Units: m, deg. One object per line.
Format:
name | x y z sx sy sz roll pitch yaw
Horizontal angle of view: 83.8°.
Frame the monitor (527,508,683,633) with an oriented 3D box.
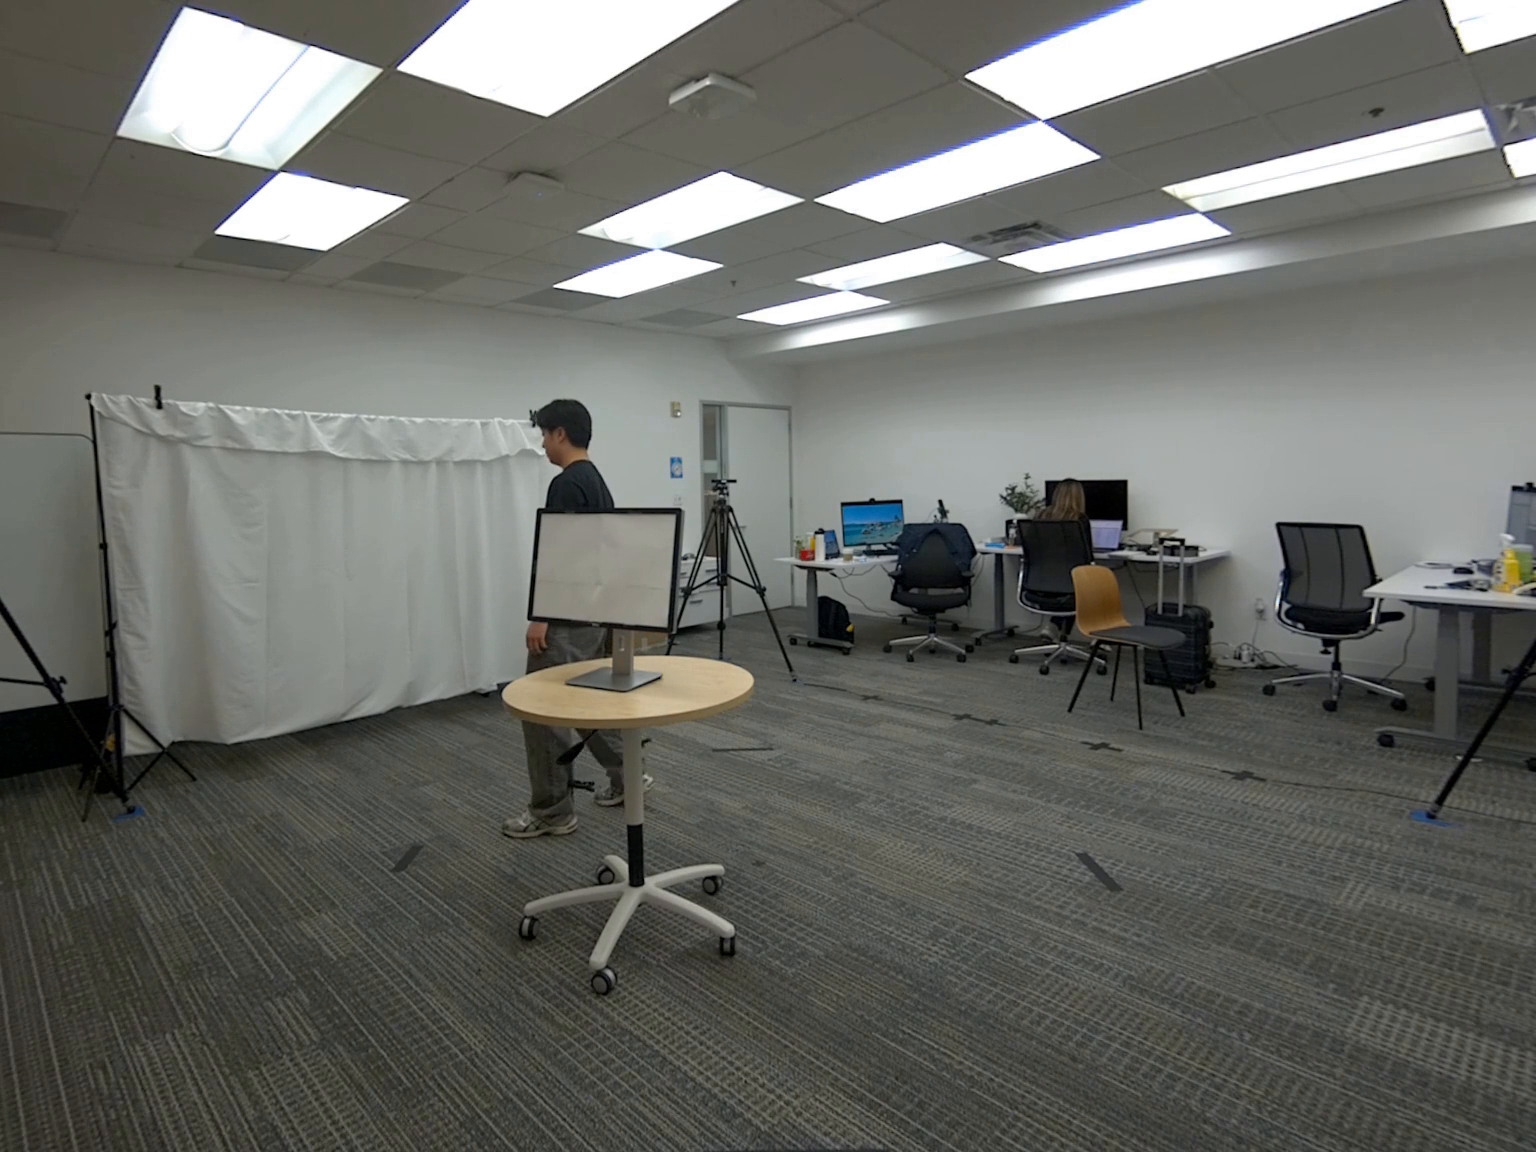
monitor | -0.485 0.073 2.636 0.577 0.562 0.217 2 8 33
